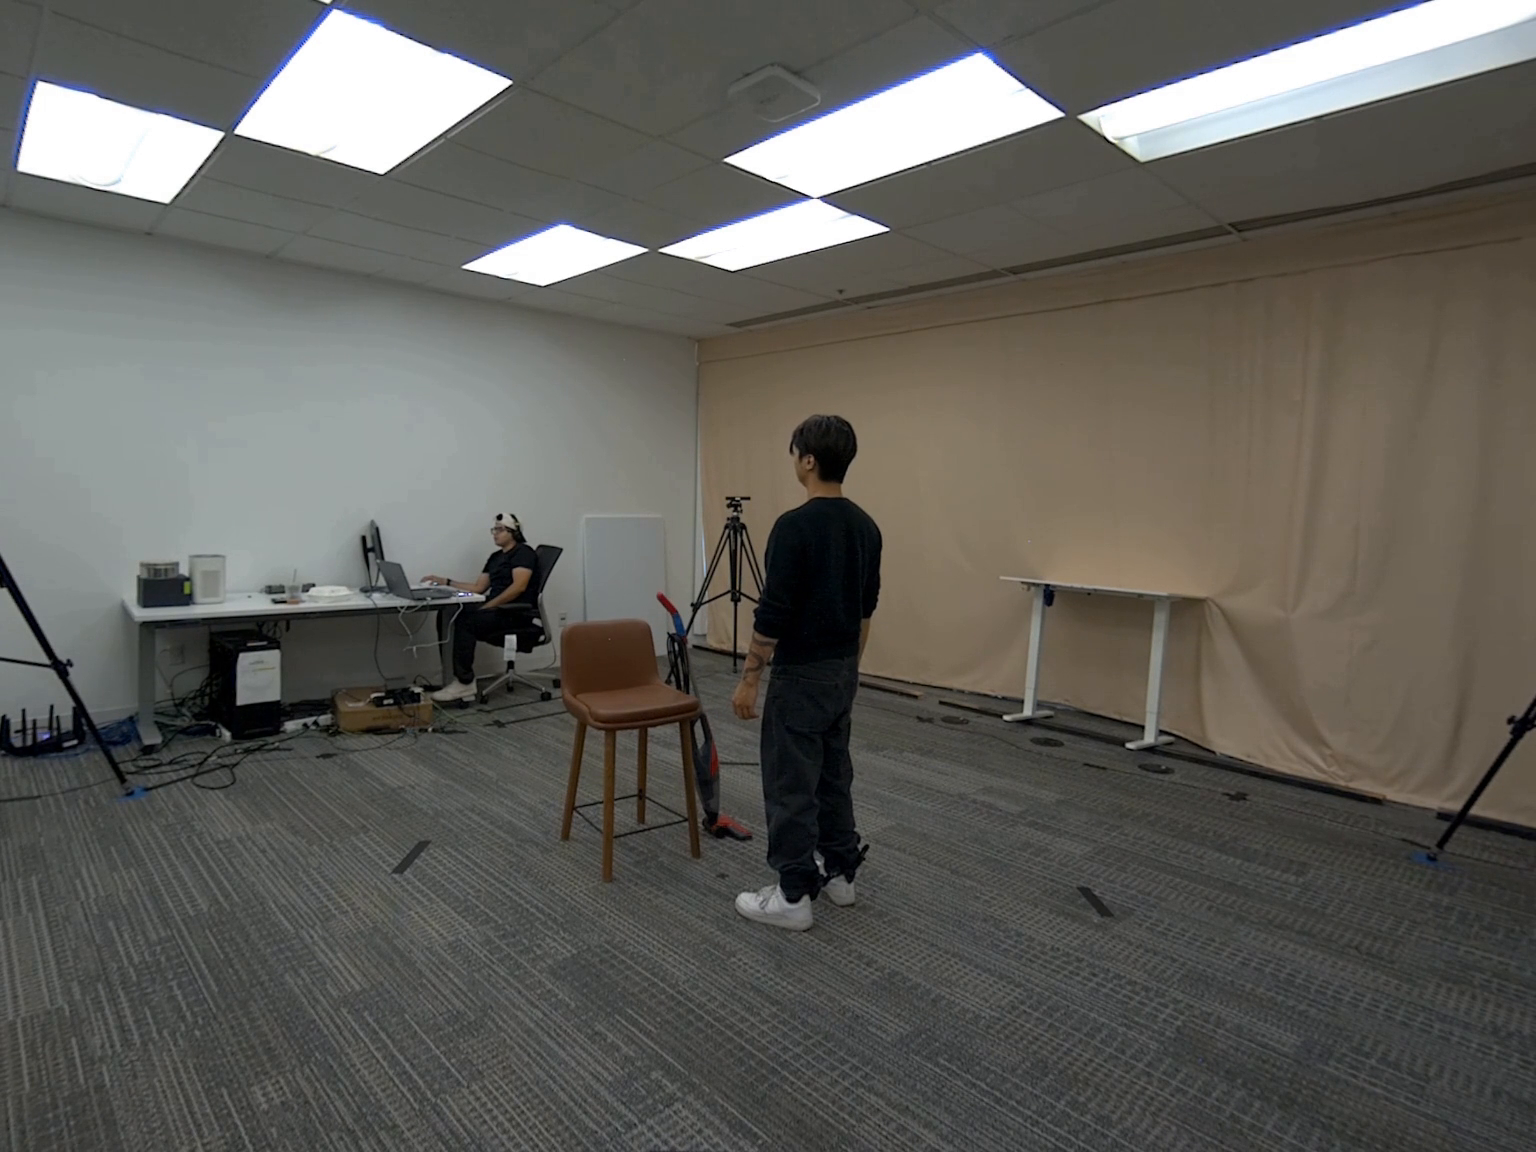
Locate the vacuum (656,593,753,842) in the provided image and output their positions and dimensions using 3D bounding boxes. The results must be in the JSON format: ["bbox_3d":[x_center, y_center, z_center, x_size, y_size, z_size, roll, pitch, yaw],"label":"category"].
[{"bbox_3d":[-0.317,0.572,3.434,0.142,1.039,0.258,-19,12,-29],"label":"vacuum"}]
